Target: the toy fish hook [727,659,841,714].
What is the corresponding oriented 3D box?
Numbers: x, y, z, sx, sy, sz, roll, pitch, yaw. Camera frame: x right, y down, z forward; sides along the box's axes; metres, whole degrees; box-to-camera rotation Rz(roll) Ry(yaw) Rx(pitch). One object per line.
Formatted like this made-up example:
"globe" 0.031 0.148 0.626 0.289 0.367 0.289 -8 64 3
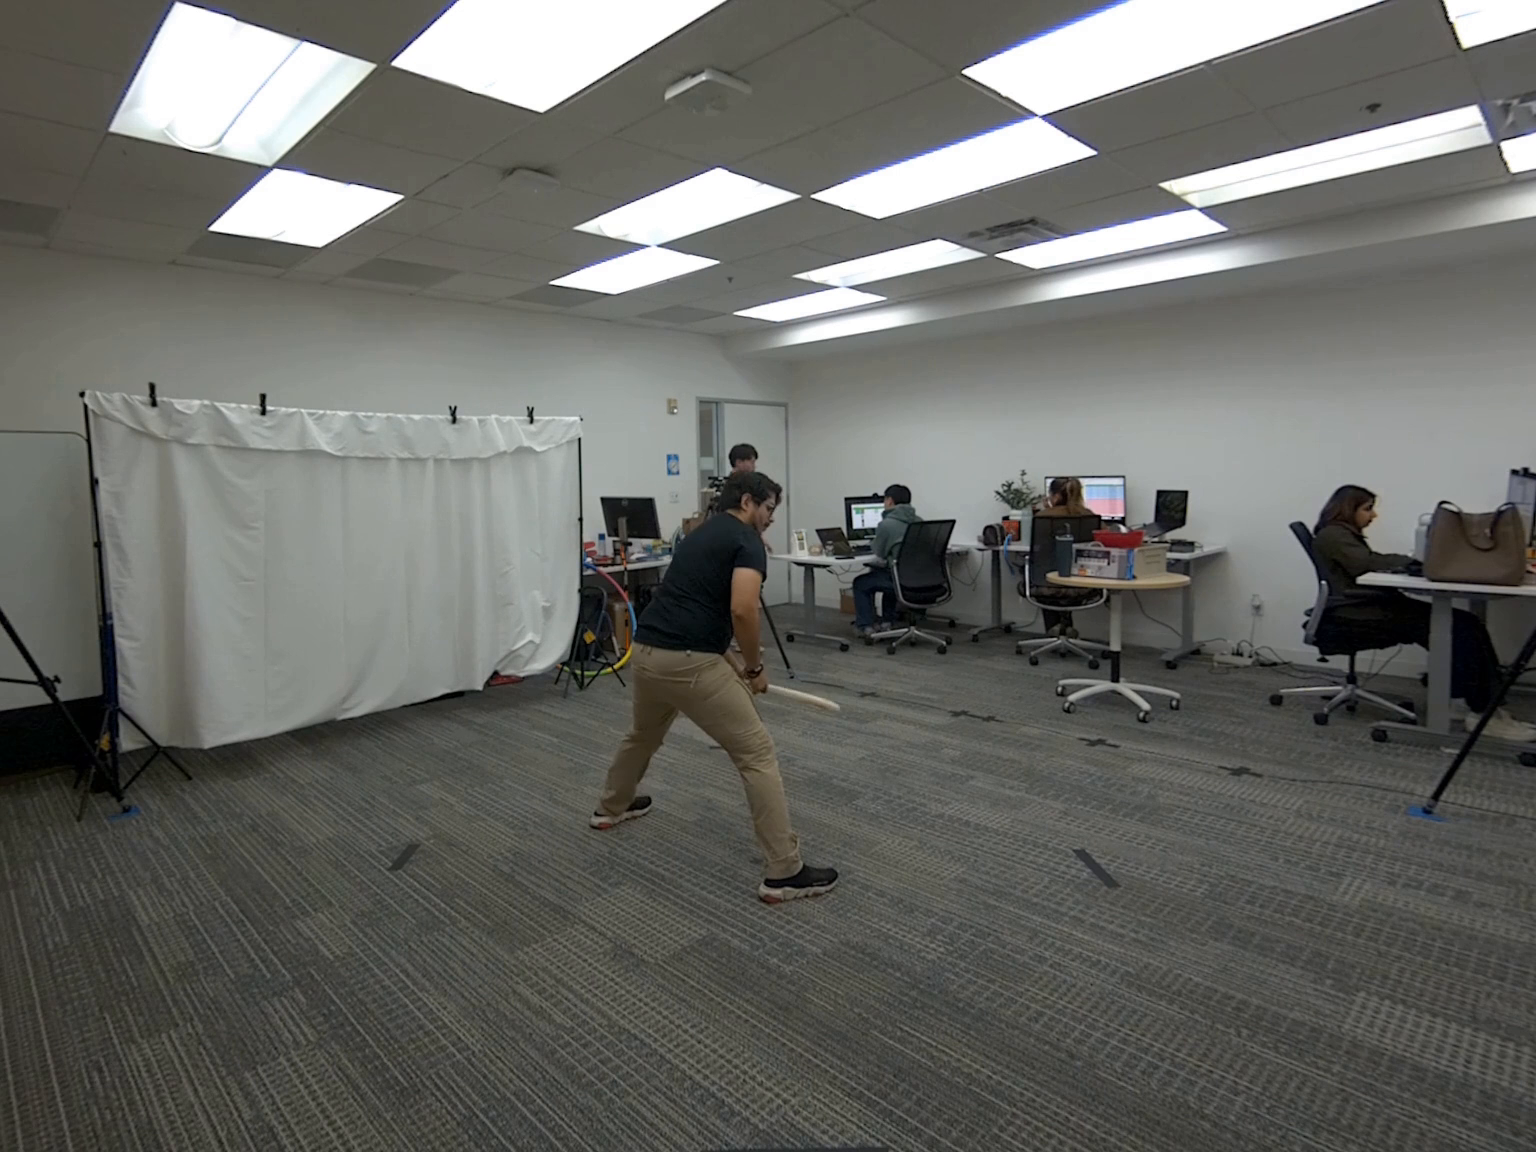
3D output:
"toy fish hook" 0.052 0.487 3.525 0.512 0.049 0.220 14 -17 9
